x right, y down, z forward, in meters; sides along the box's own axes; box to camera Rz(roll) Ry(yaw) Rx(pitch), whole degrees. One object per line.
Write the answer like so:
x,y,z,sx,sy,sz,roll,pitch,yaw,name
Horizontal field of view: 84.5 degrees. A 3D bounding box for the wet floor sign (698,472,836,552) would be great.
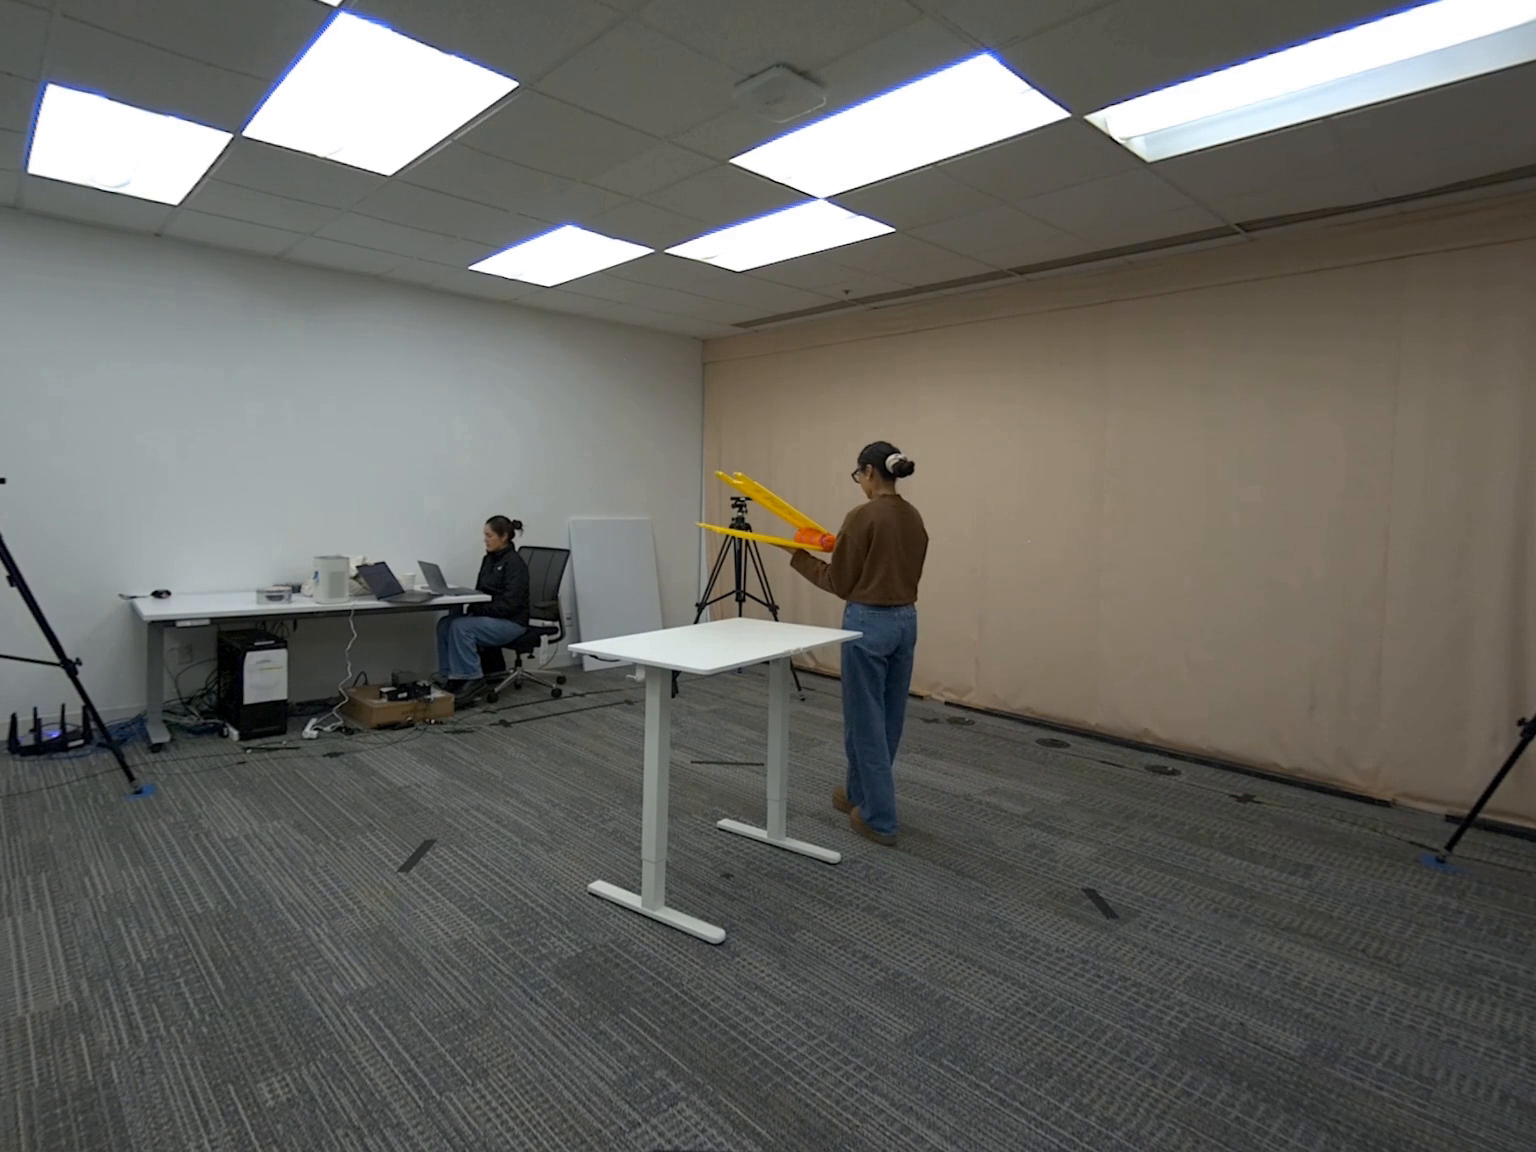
0.051,-0.212,3.607,0.631,0.290,0.288,19,-1,-26,wet floor sign
